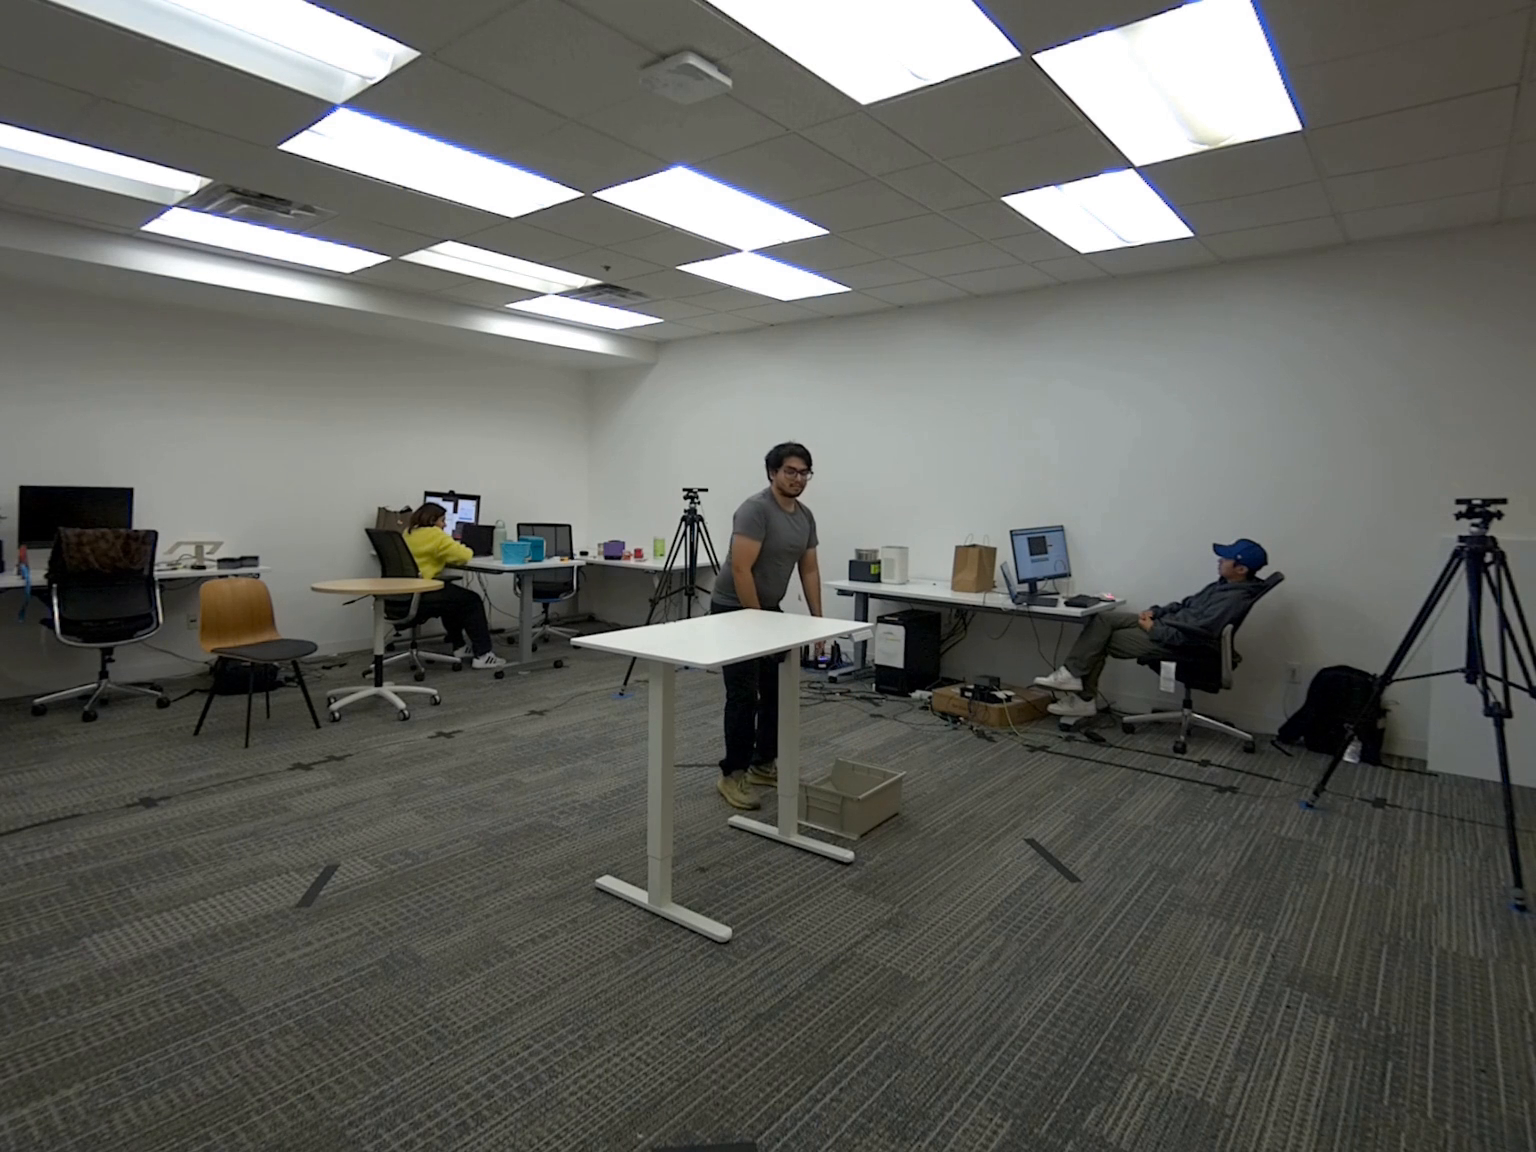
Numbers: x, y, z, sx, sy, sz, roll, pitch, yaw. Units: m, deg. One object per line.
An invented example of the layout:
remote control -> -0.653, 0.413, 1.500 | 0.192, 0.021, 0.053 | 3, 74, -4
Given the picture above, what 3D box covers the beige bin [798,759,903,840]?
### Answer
beige bin -> 0.320, 0.940, 3.660 | 0.390, 0.188, 0.410 | 6, 7, 36
